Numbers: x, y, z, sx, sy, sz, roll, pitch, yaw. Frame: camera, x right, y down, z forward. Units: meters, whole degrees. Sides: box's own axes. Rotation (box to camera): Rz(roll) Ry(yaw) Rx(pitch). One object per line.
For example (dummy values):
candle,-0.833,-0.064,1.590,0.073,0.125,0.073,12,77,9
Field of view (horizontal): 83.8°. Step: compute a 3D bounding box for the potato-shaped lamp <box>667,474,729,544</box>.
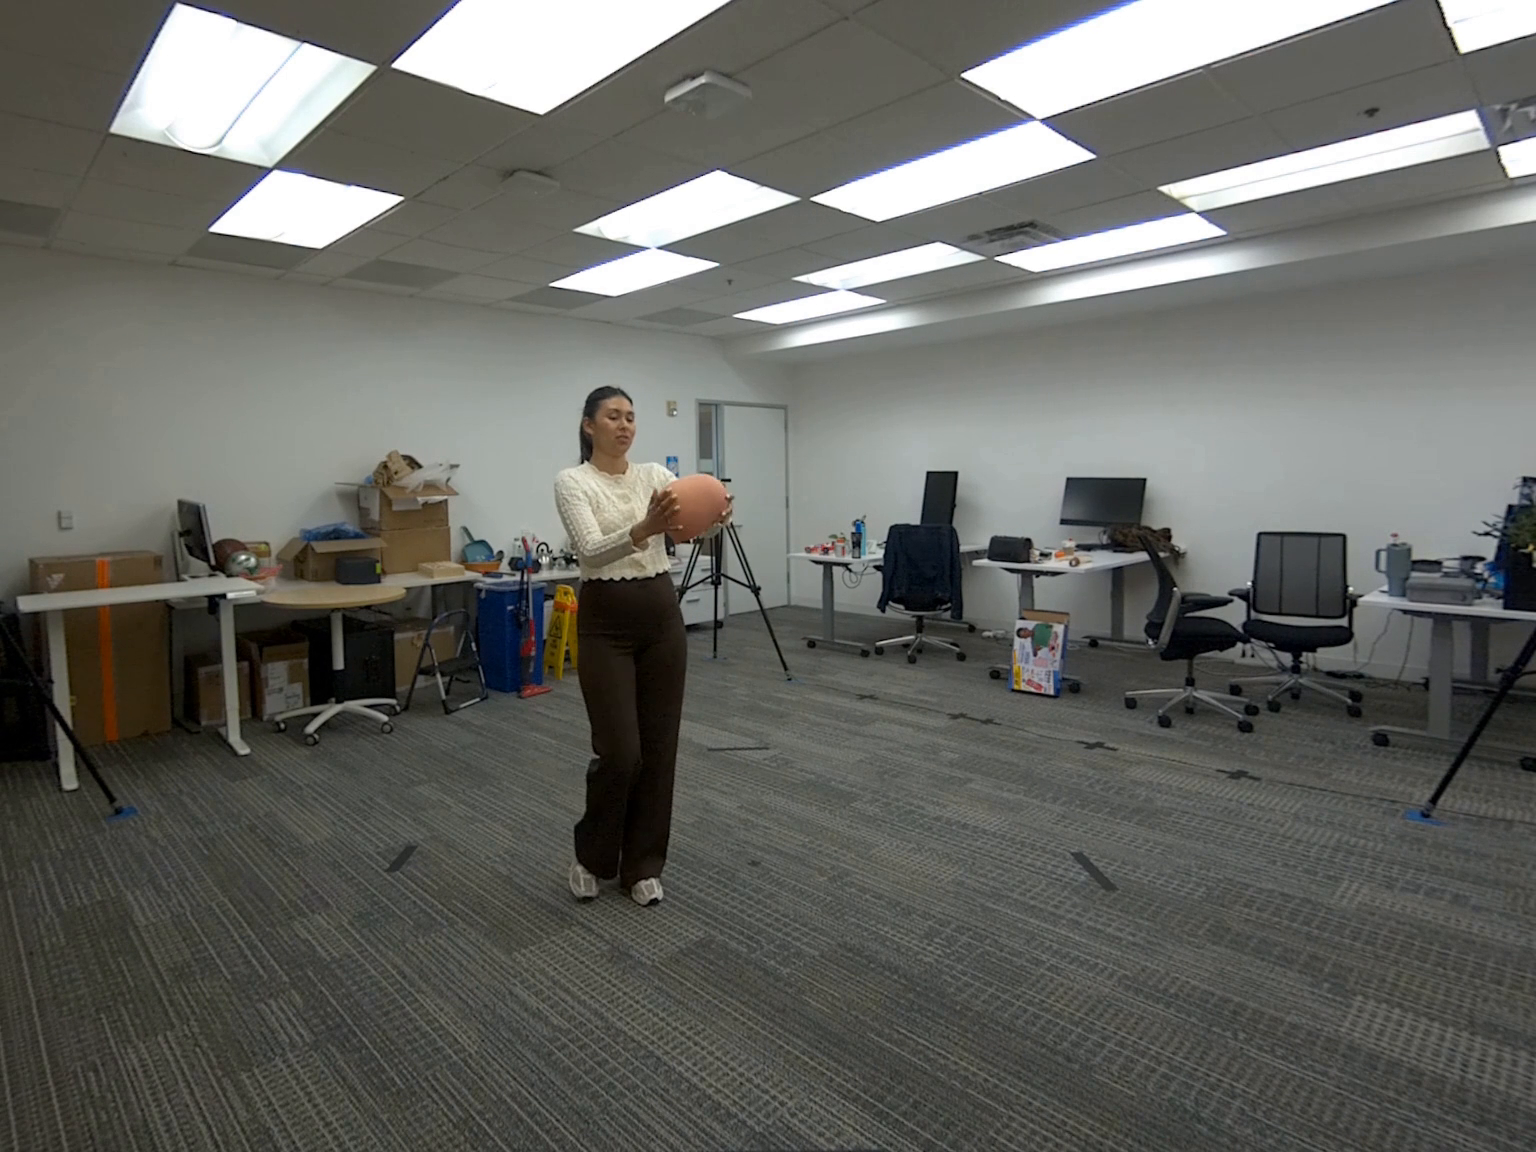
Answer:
potato-shaped lamp,-0.209,-0.204,2.422,0.195,0.167,0.171,-22,49,-26
